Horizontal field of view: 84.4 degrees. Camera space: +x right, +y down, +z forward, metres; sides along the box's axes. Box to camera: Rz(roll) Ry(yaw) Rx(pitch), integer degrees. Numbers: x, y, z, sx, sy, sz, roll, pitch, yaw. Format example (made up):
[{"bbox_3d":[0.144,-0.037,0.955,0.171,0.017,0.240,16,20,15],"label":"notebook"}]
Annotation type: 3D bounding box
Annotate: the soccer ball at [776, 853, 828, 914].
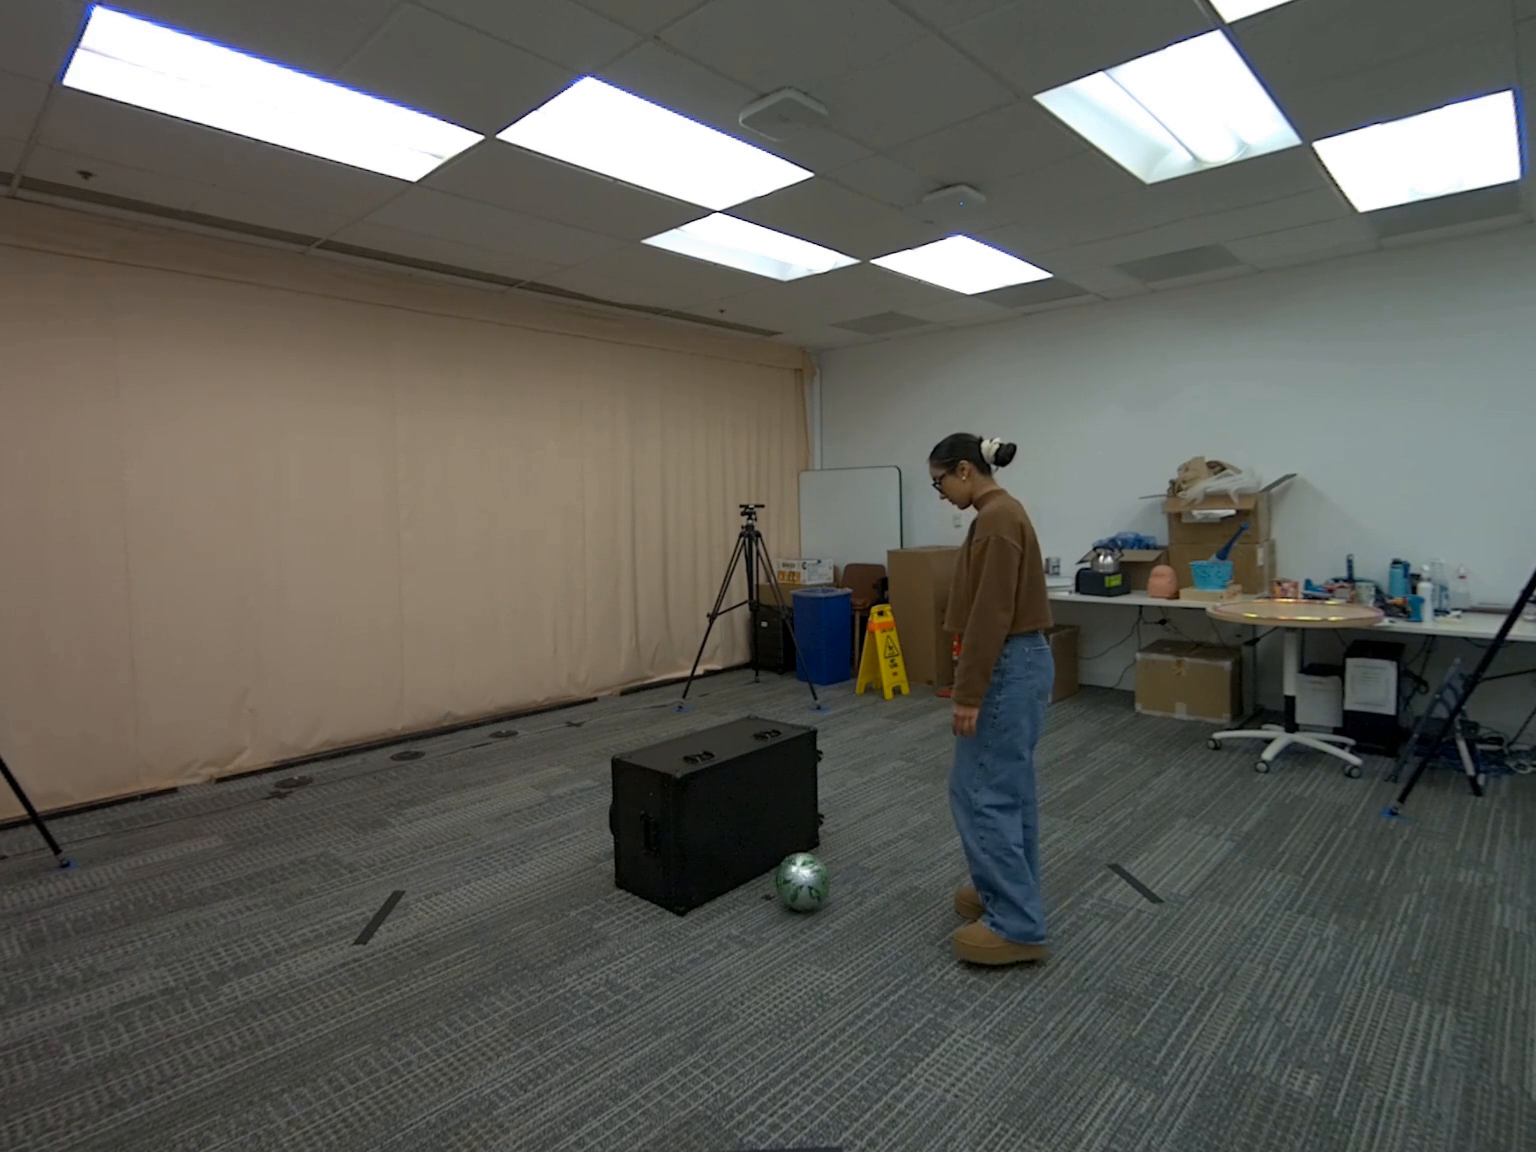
[{"bbox_3d":[0.114,1.044,2.894,0.187,0.187,0.188,-1,4,-2],"label":"soccer ball"}]
